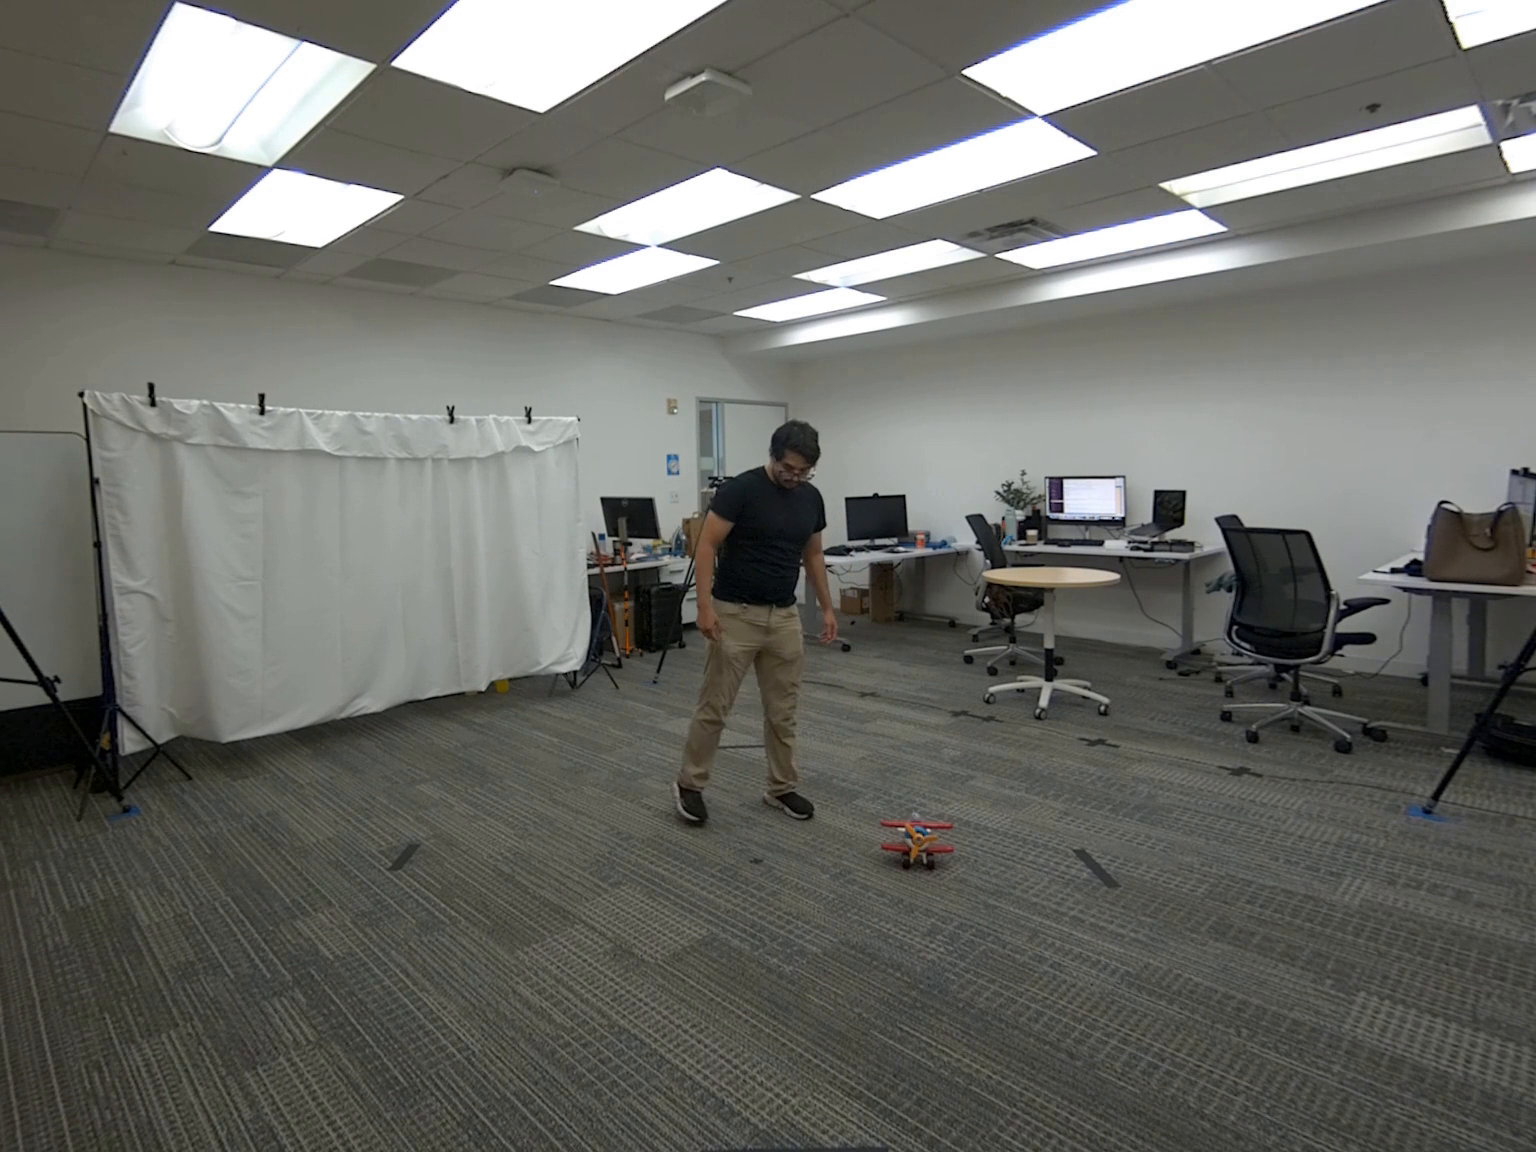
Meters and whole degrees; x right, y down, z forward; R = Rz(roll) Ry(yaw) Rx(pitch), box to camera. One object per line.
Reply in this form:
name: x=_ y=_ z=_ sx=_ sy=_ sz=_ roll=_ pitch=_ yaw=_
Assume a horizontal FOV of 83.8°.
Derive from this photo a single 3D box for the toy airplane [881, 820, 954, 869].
toy airplane: x=0.523 y=0.951 z=3.103 sx=0.246 sy=0.155 sz=0.265 roll=-3 pitch=8 yaw=-21
